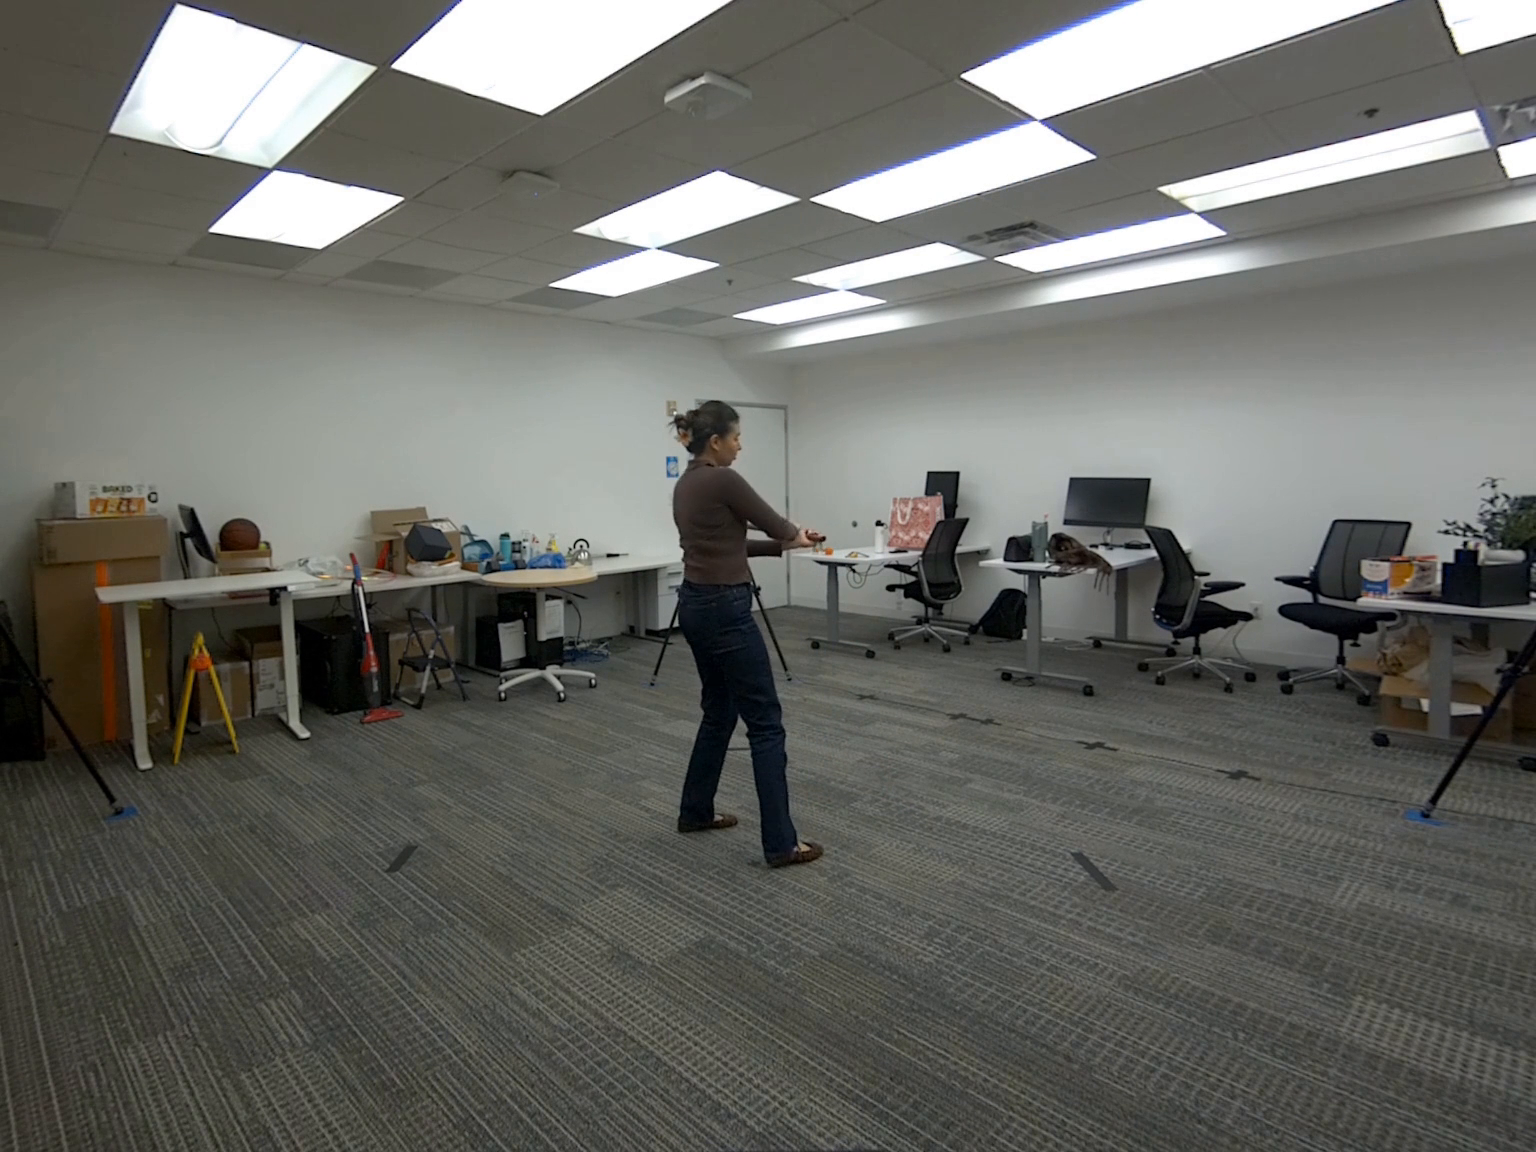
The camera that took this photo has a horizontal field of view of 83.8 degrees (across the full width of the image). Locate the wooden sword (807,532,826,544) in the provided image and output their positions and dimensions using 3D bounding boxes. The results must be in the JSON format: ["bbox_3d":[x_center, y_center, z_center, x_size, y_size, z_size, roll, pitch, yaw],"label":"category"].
[{"bbox_3d":[-0.084,-0.208,3.794,0.051,0.023,1.057,-44,30,-25],"label":"wooden sword"}]
